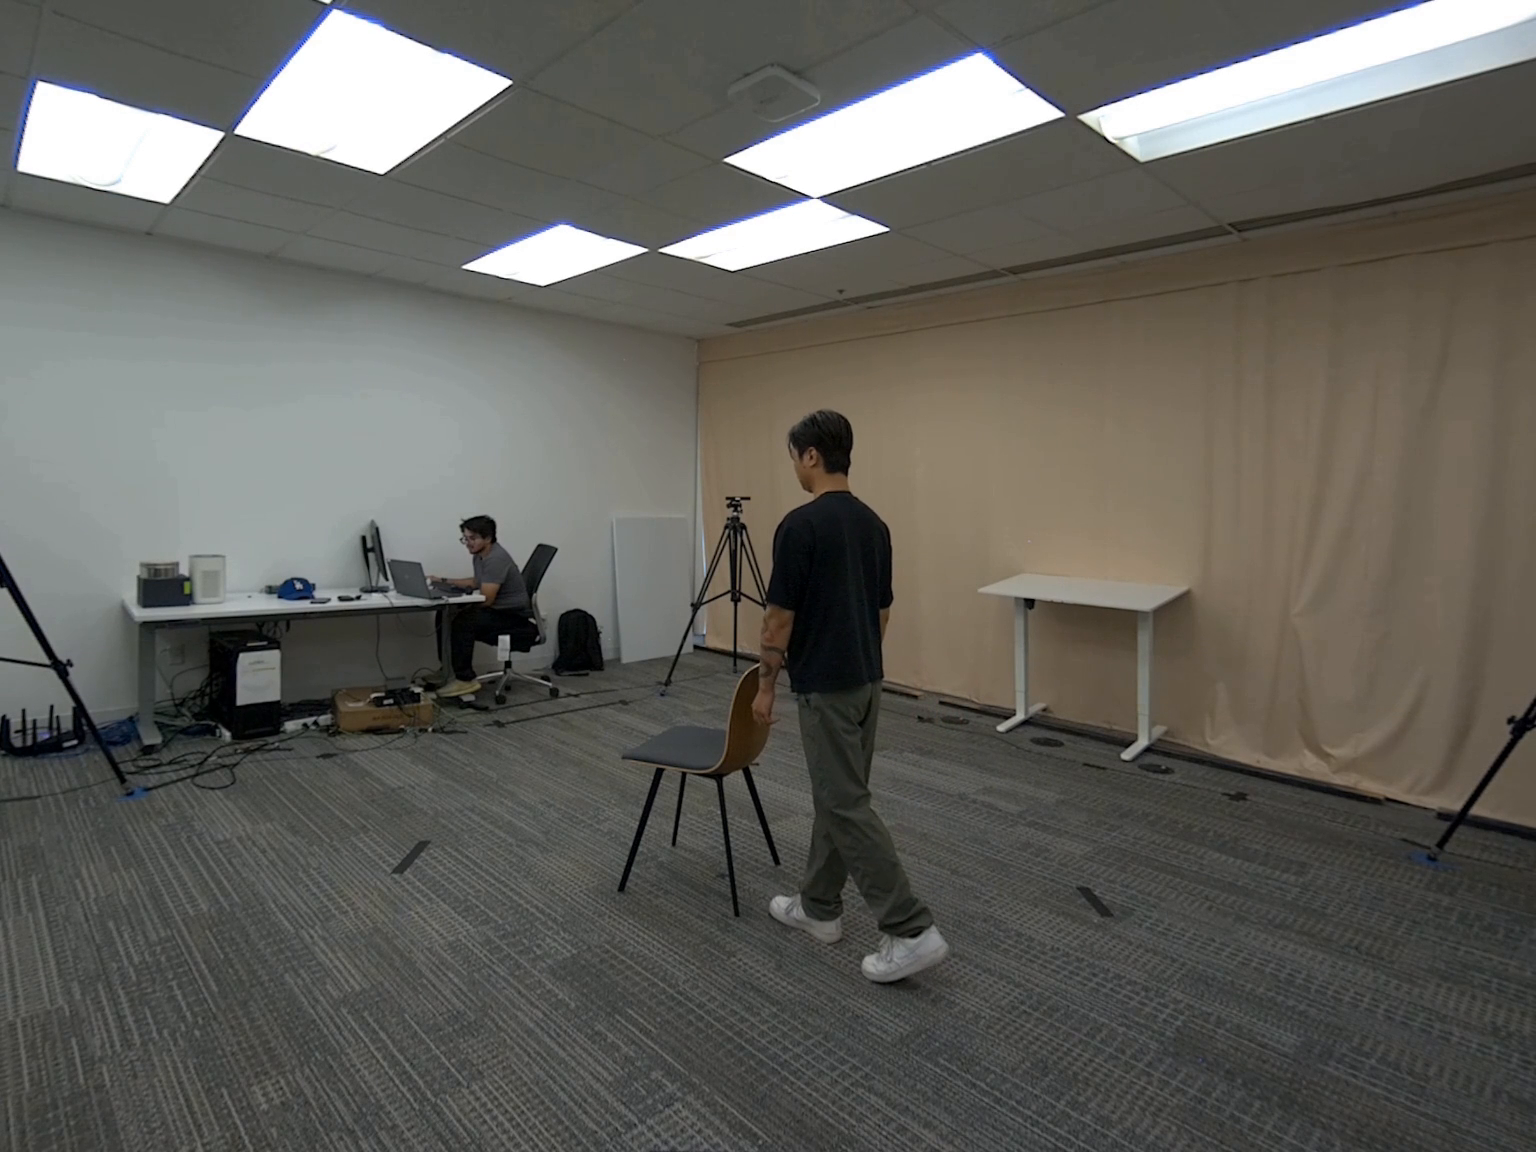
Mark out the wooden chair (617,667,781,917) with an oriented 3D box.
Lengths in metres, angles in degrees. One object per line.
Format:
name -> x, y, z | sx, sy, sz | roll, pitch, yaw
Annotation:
wooden chair -> -0.243, 0.679, 3.055 | 0.532, 0.874, 0.471 | 7, 5, 20
